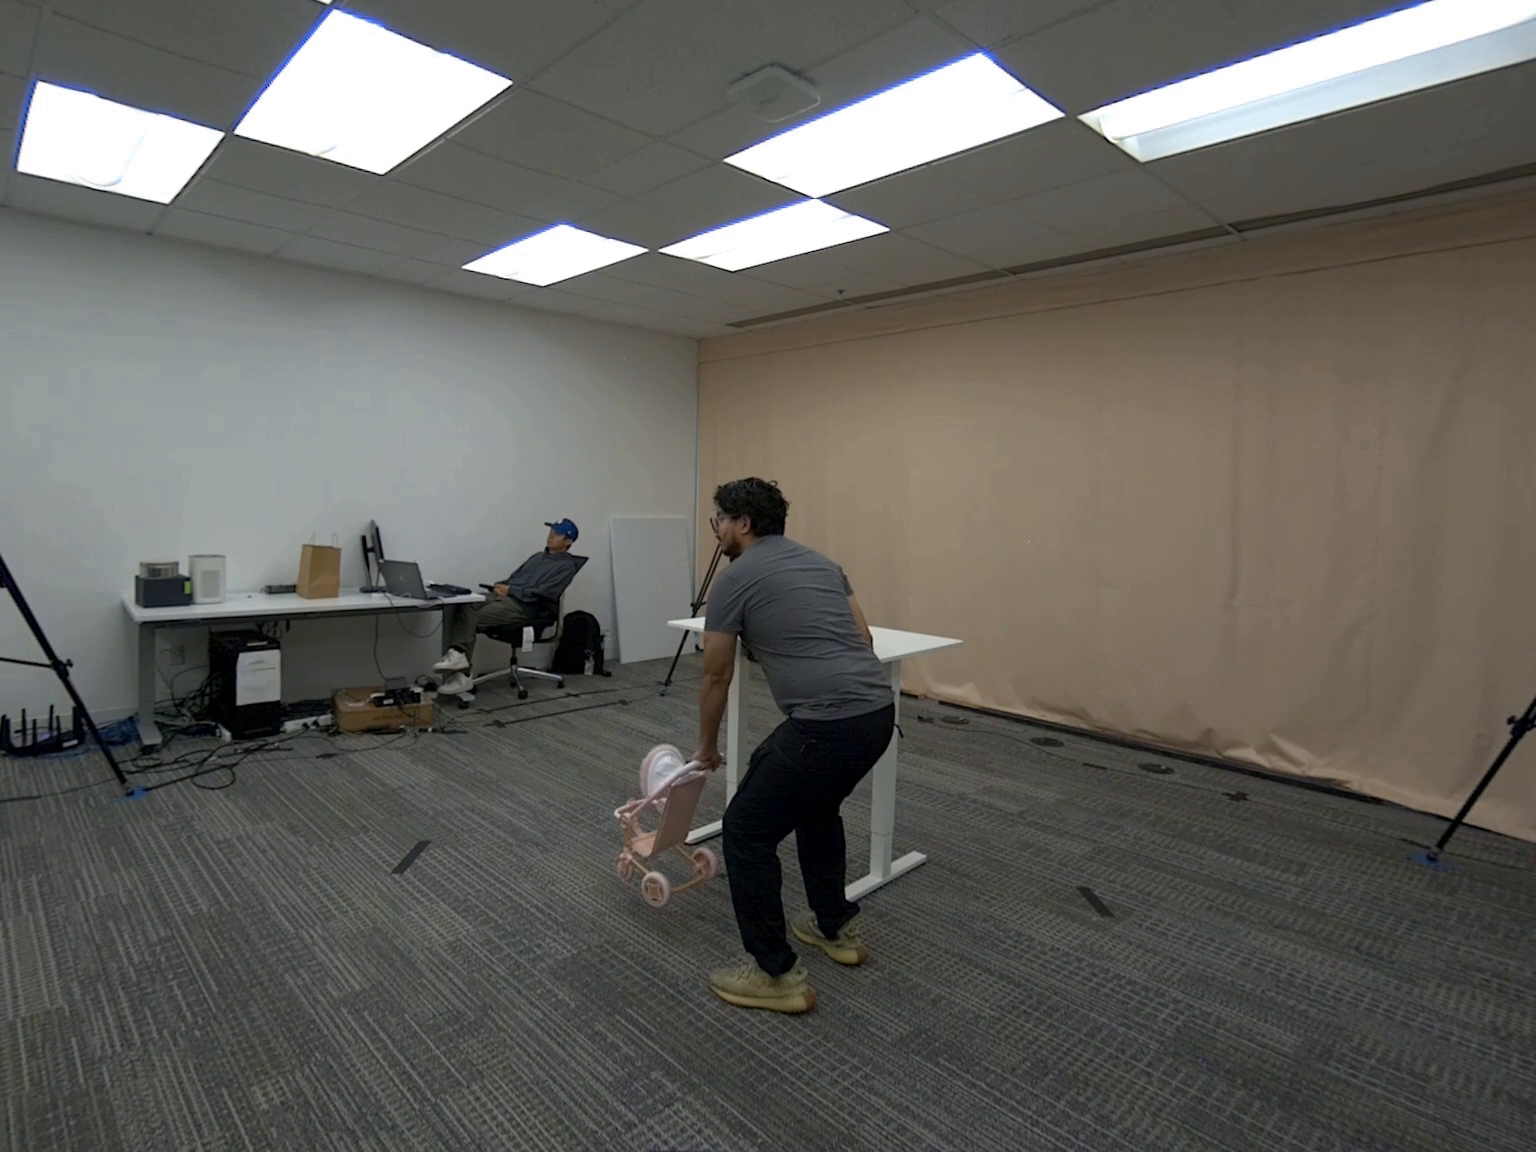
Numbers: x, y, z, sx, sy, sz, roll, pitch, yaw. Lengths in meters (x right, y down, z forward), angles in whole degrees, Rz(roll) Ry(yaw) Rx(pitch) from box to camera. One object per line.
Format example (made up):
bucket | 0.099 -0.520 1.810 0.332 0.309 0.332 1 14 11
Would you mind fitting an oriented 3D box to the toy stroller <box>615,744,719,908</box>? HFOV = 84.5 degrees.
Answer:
toy stroller | -0.353 0.803 2.777 0.351 0.533 0.275 14 8 38
